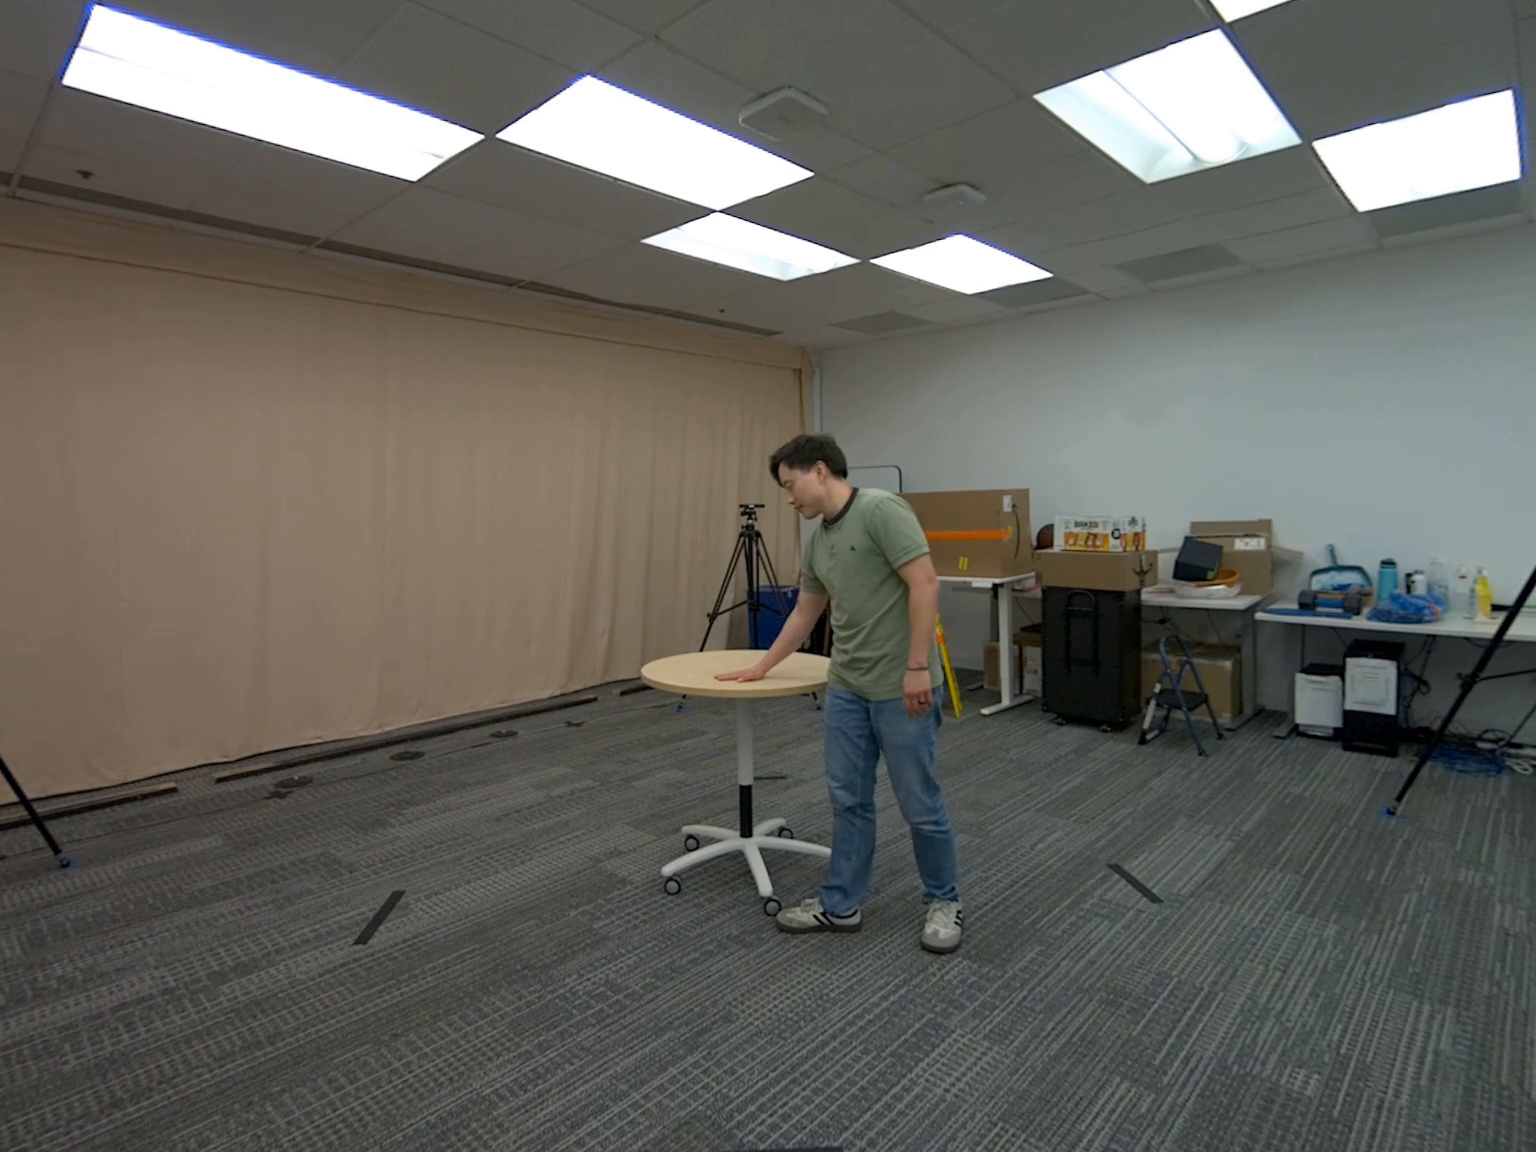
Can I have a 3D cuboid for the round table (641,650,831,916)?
[{"bbox_3d":[-0.085,0.736,3.172,0.763,0.792,0.766,-1,4,-2],"label":"round table"}]
